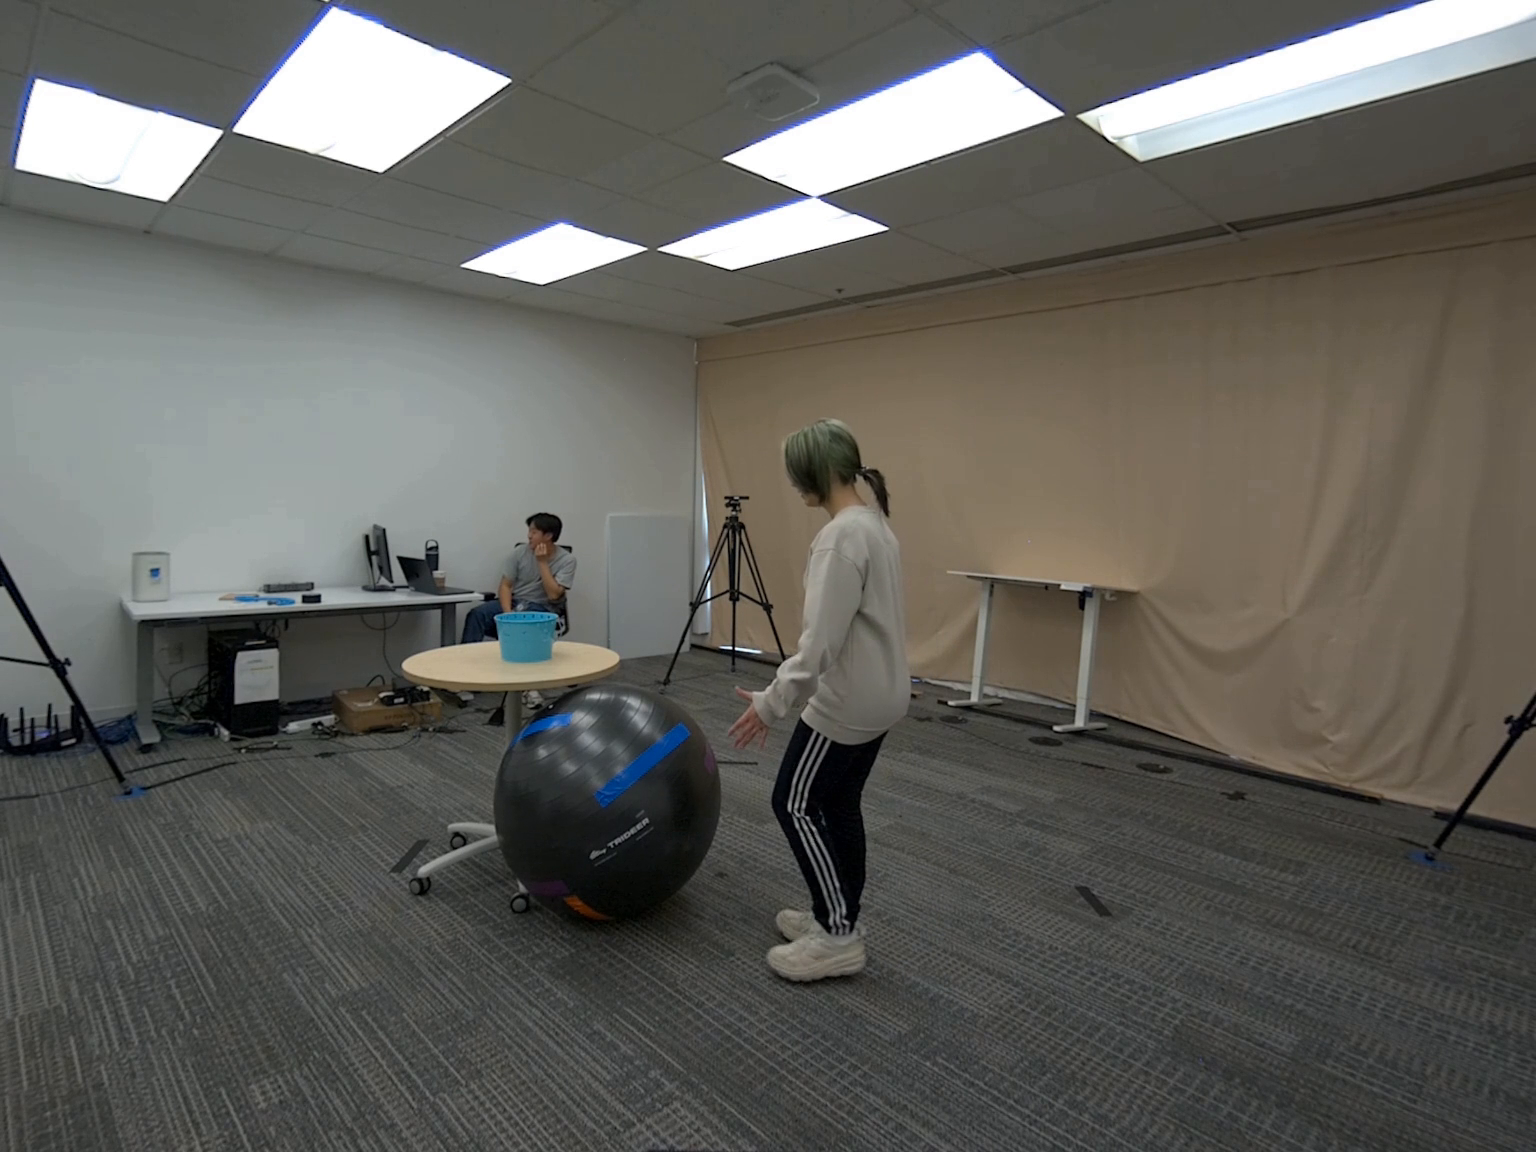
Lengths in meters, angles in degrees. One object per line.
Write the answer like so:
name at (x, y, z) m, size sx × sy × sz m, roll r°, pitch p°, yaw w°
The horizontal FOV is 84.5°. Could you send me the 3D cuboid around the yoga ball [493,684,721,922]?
yoga ball at (-0.550, 0.753, 2.827) m, size 0.757 × 0.756 × 0.761 m, roll 1°, pitch 4°, yaw -1°
